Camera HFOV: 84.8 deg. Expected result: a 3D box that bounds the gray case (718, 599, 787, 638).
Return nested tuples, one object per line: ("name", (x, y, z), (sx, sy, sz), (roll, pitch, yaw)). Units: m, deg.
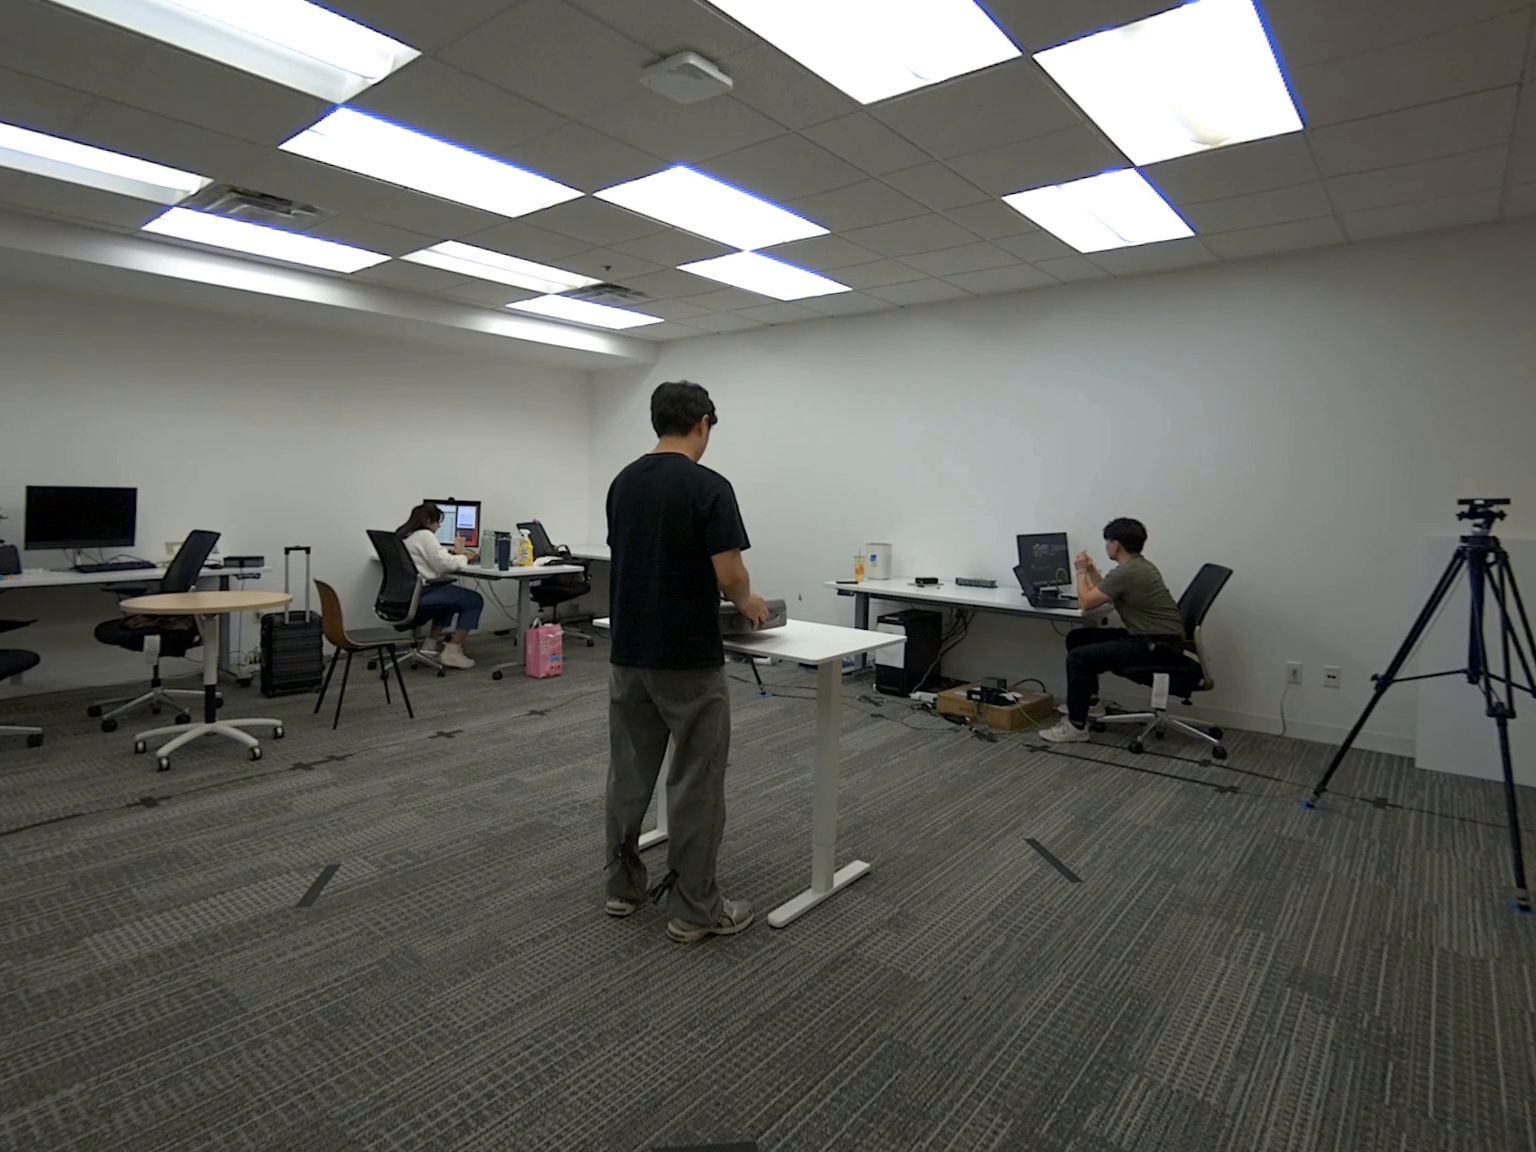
("gray case", (-0.101, 0.137, 2.957), (0.268, 0.104, 0.249), (-4, 0, 40))
